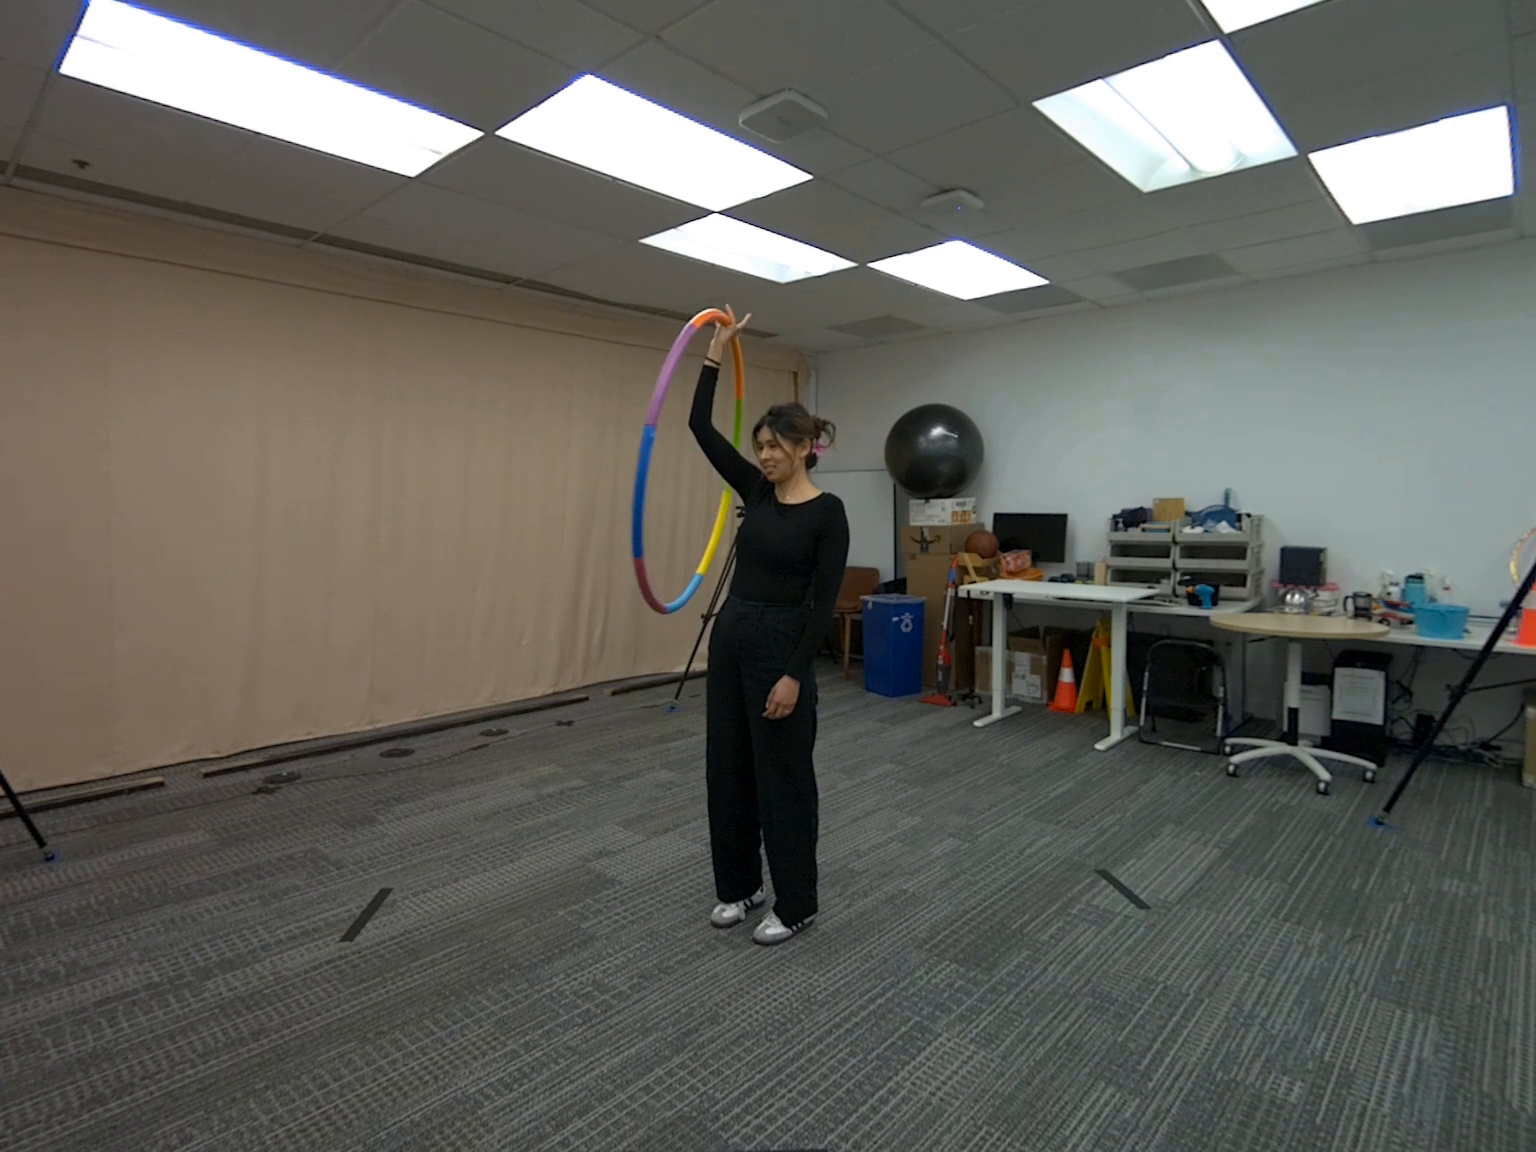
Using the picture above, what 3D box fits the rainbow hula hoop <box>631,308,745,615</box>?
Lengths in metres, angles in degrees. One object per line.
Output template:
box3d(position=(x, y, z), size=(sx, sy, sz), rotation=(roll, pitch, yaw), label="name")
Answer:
box3d(position=(-0.219, -0.363, 2.760), size=(0.052, 0.983, 0.972), rotation=(11, 6, 12), label="rainbow hula hoop")
